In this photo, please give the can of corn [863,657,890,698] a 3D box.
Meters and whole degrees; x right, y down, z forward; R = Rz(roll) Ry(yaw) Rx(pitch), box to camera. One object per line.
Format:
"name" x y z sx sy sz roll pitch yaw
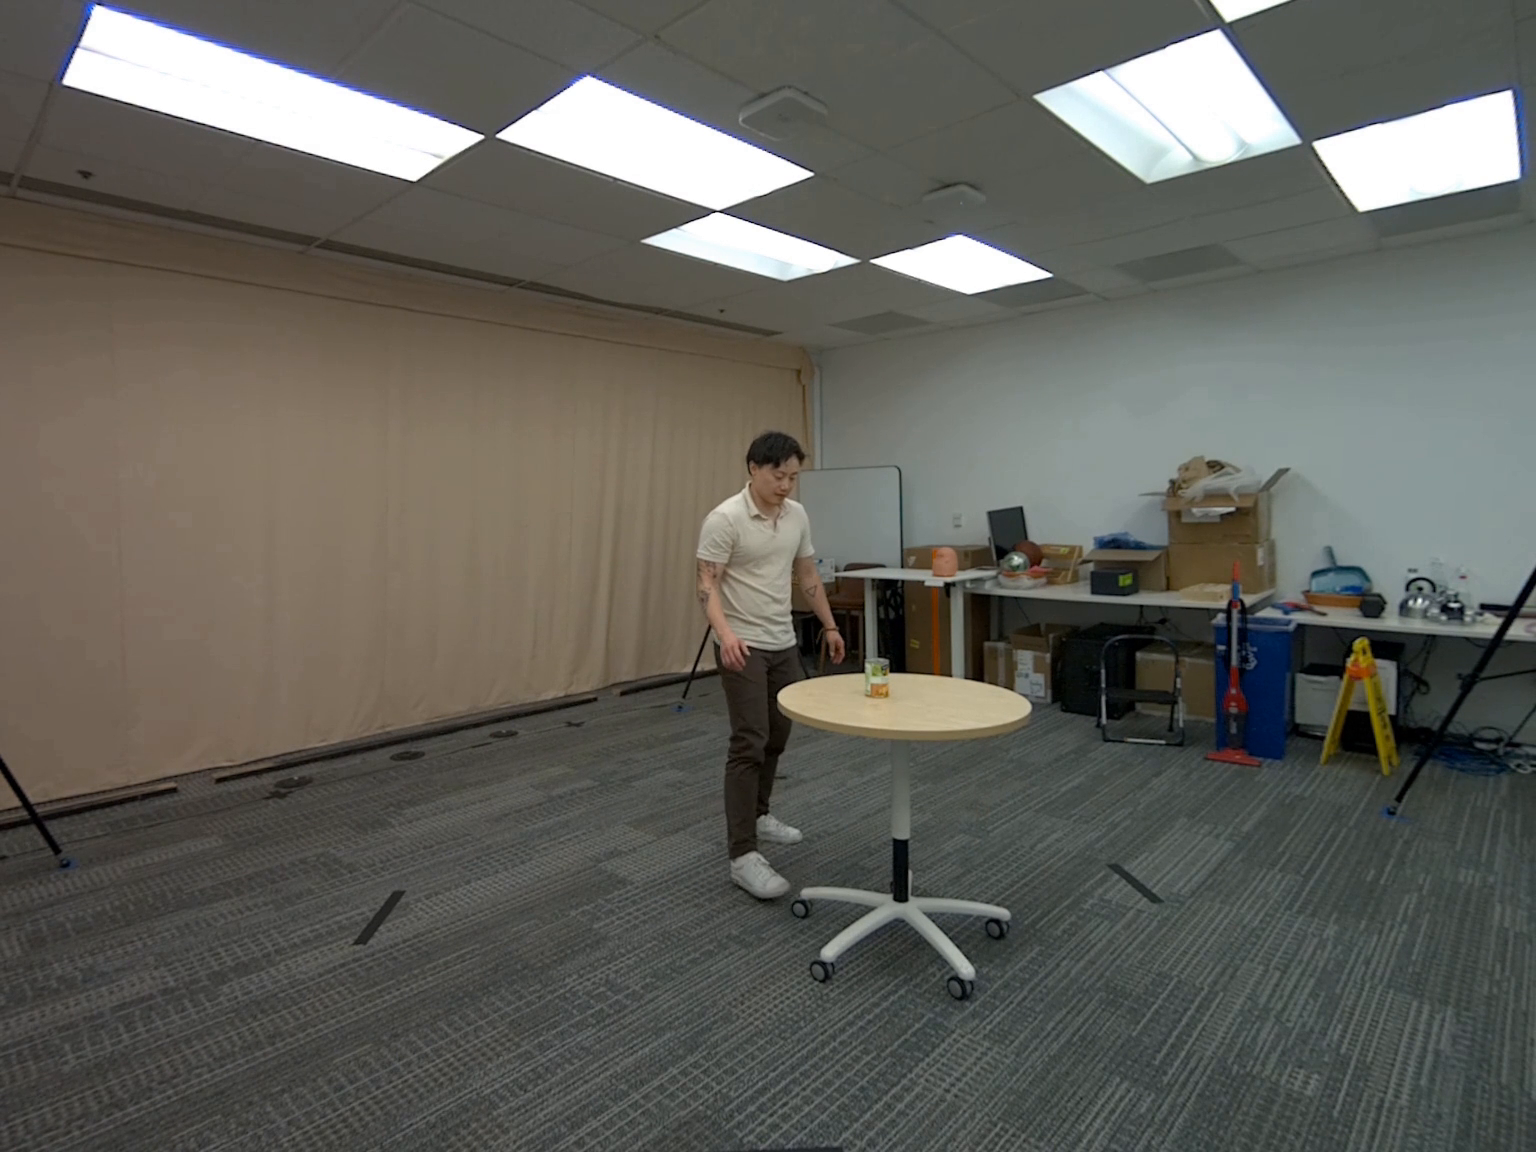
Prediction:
"can of corn" 0.350 0.319 2.651 0.074 0.111 0.074 0 4 -2
